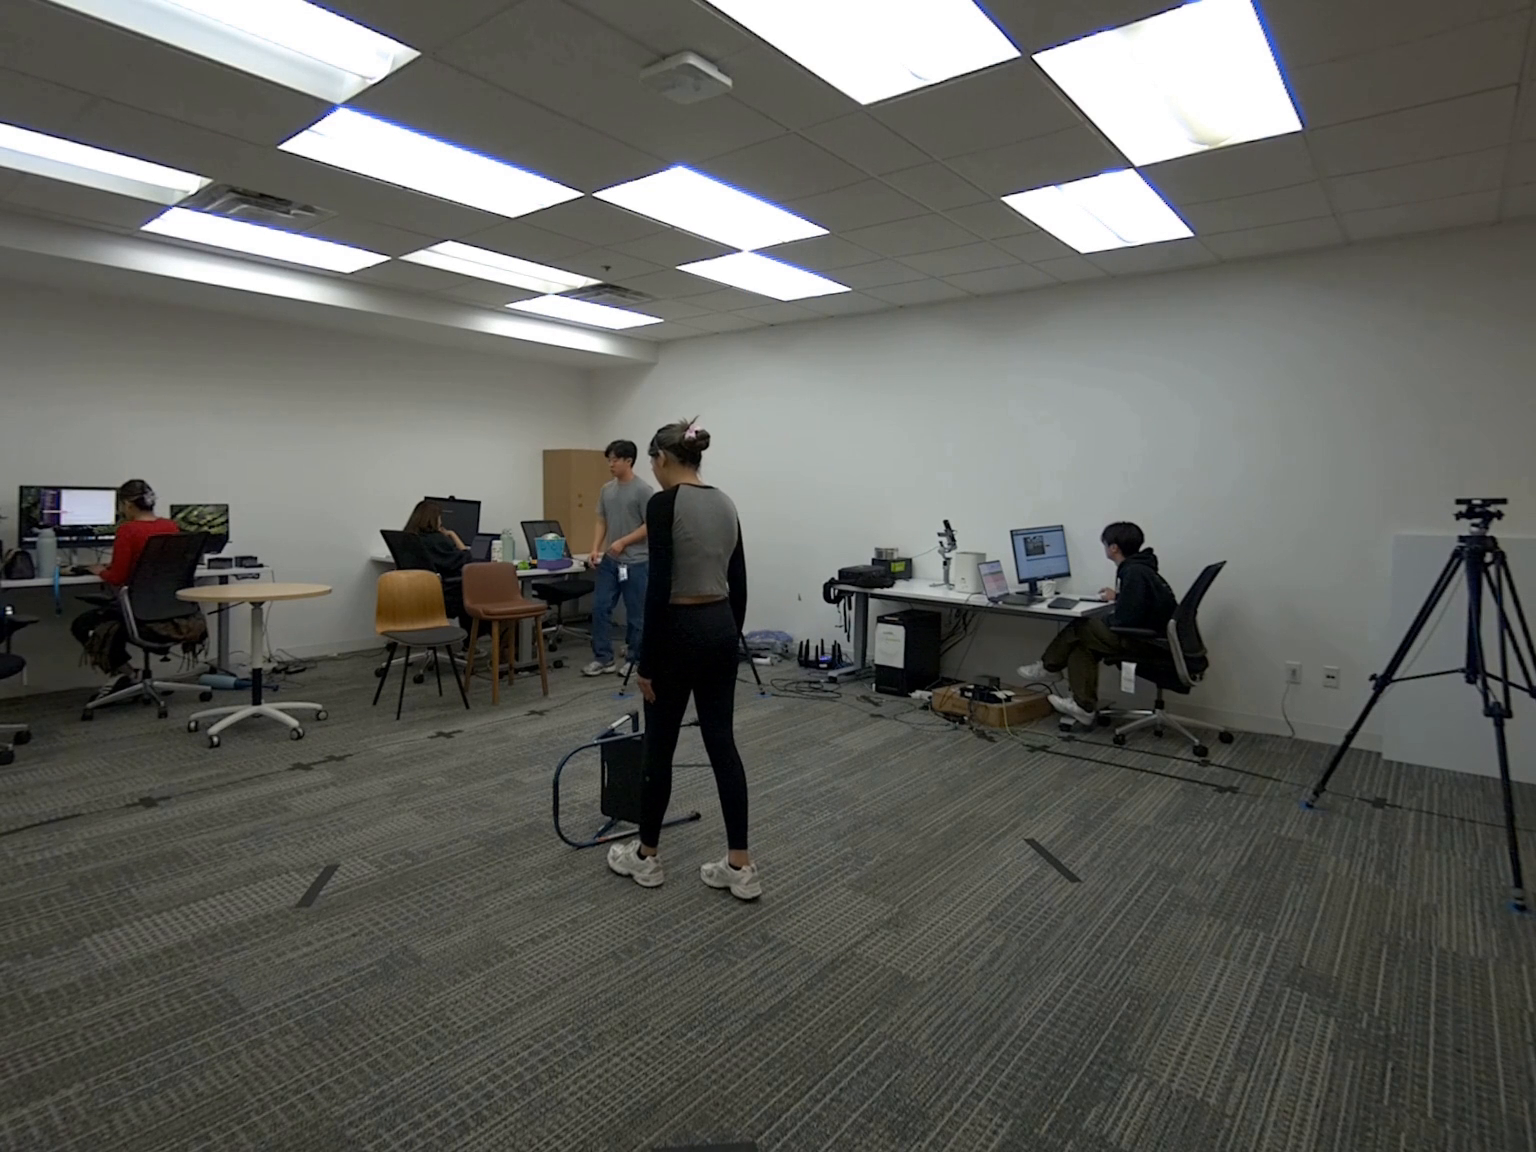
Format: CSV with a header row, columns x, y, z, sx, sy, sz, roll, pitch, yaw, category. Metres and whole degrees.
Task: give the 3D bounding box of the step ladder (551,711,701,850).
x,y,z,sx,sy,sz,roll,pitch,yaw,category
-0.601,0.827,3.418,0.360,0.429,0.590,1,5,32,step ladder
